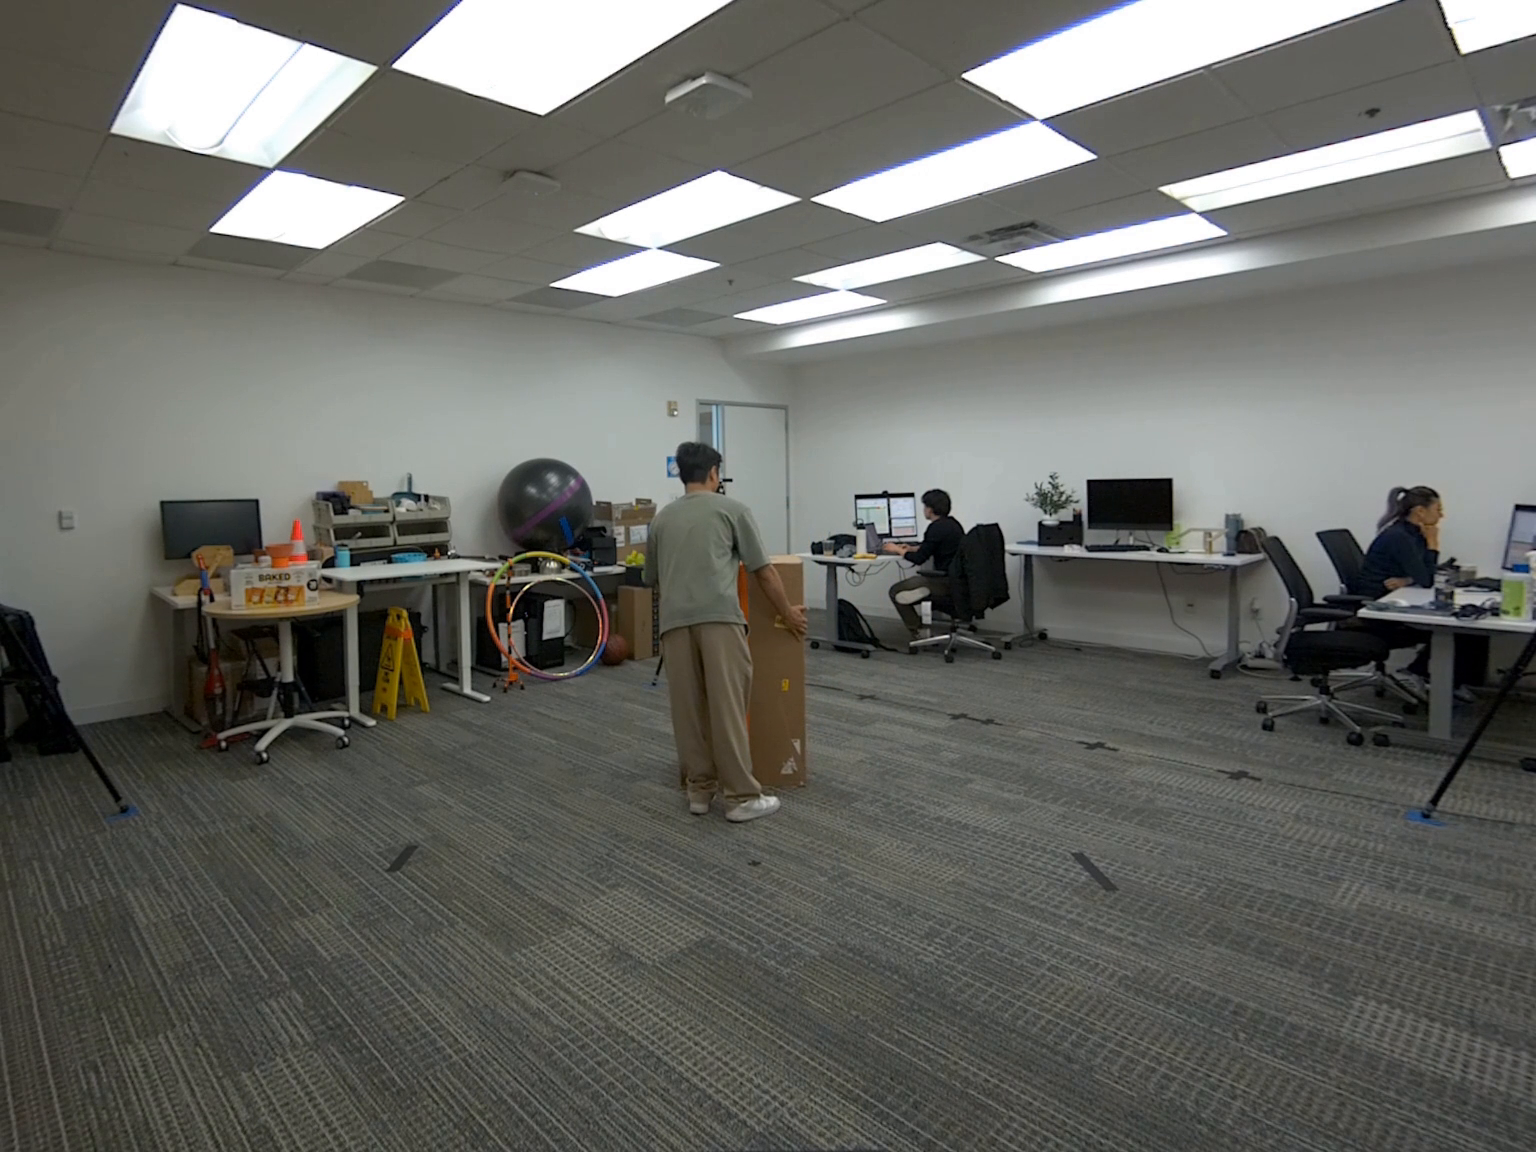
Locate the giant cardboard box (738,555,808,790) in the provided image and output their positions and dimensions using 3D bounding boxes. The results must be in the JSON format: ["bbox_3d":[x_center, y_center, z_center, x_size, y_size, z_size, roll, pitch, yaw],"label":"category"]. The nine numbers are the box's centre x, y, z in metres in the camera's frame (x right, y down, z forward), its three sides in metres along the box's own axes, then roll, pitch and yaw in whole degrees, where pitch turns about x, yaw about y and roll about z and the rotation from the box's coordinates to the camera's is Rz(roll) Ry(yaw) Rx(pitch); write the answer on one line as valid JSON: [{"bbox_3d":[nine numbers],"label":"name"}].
[{"bbox_3d":[-0.128,0.433,4.051,0.577,1.022,0.428,-1,4,-2],"label":"giant cardboard box"}]
